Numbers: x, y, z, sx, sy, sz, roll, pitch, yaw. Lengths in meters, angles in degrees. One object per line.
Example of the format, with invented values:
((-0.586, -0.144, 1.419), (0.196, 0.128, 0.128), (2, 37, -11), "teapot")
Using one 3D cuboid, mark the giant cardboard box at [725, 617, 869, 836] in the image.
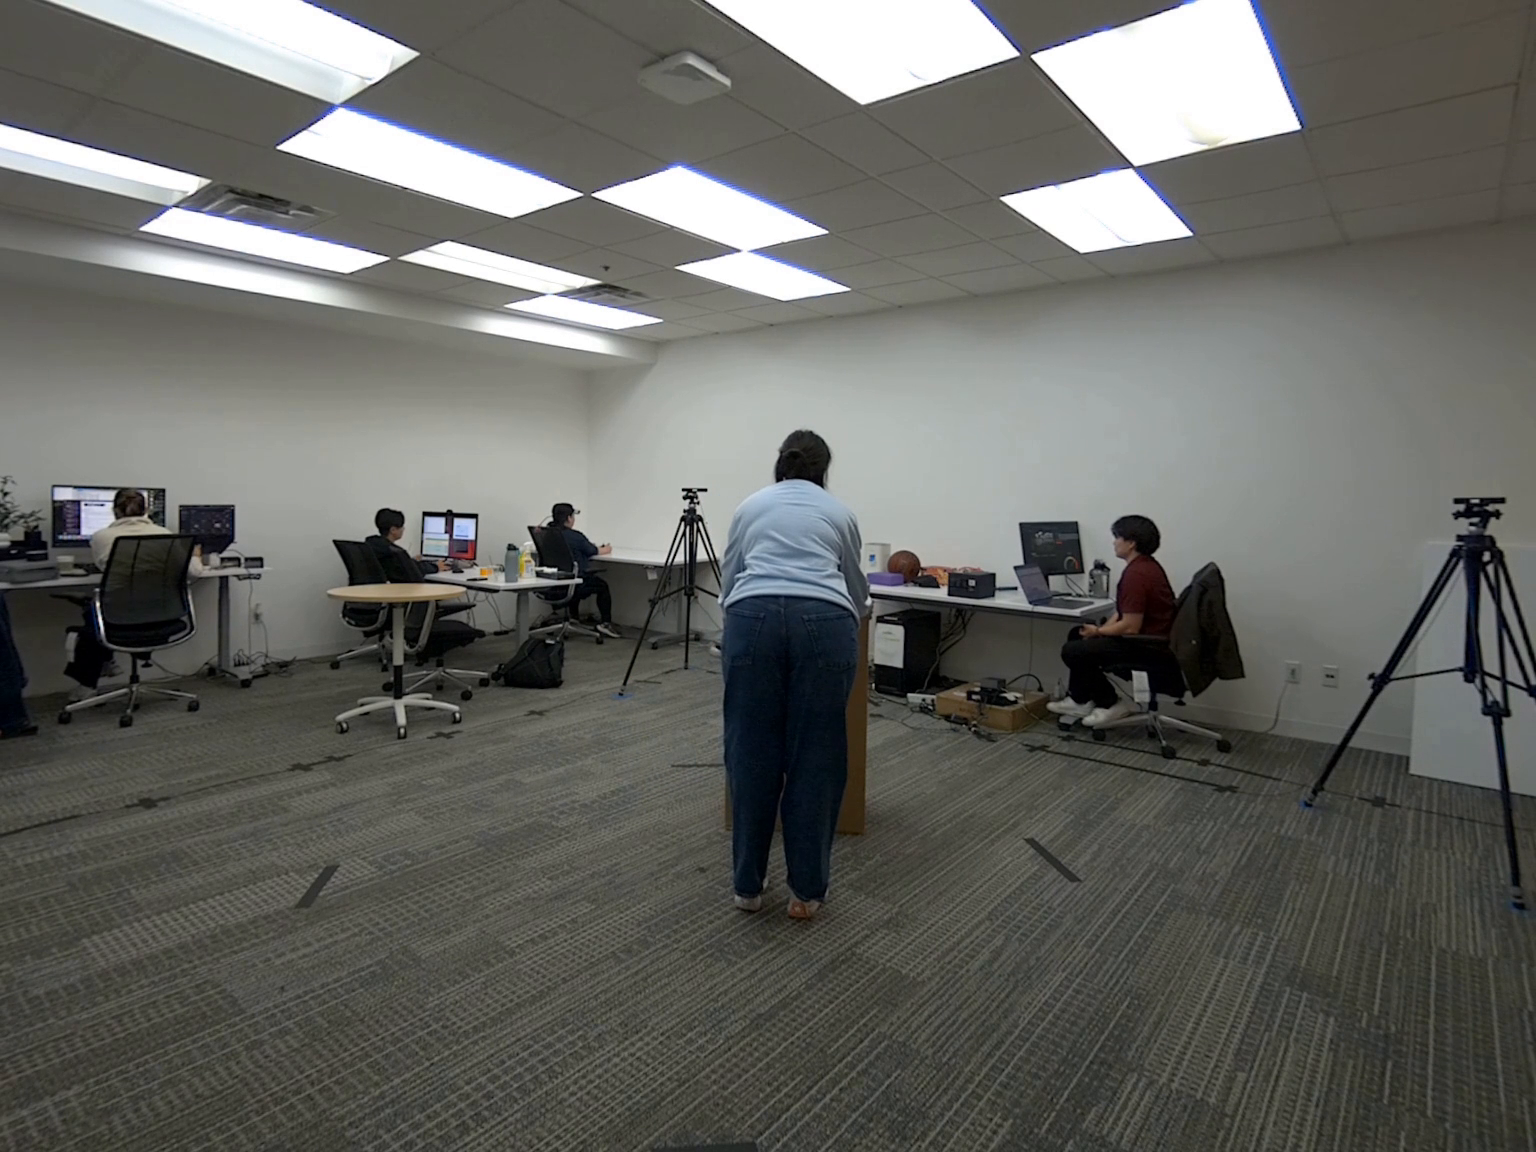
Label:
((0.107, 0.507, 3.643), (0.579, 1.022, 0.427), (1, 4, 2), "giant cardboard box")
